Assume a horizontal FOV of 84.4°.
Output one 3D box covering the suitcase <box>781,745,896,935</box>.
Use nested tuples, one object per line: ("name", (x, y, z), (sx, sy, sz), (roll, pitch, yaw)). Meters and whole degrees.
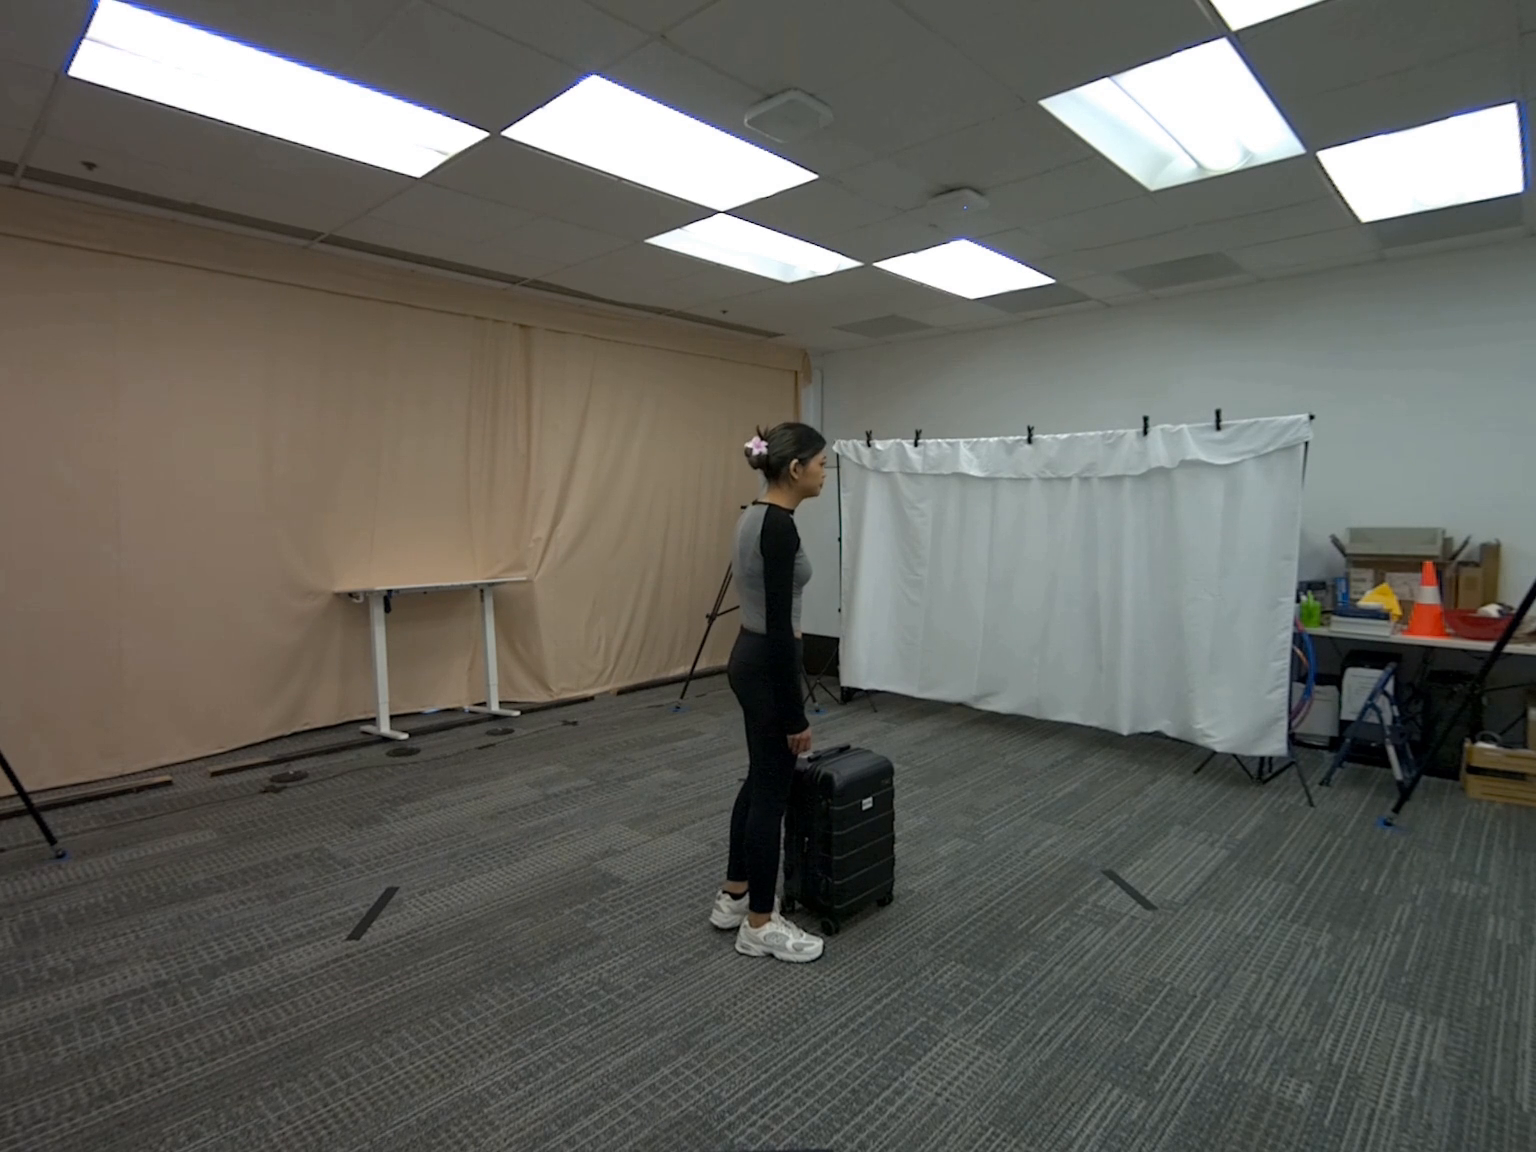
("suitcase", (0.255, 0.877, 2.889), (0.257, 0.548, 0.364), (6, 7, 44))
